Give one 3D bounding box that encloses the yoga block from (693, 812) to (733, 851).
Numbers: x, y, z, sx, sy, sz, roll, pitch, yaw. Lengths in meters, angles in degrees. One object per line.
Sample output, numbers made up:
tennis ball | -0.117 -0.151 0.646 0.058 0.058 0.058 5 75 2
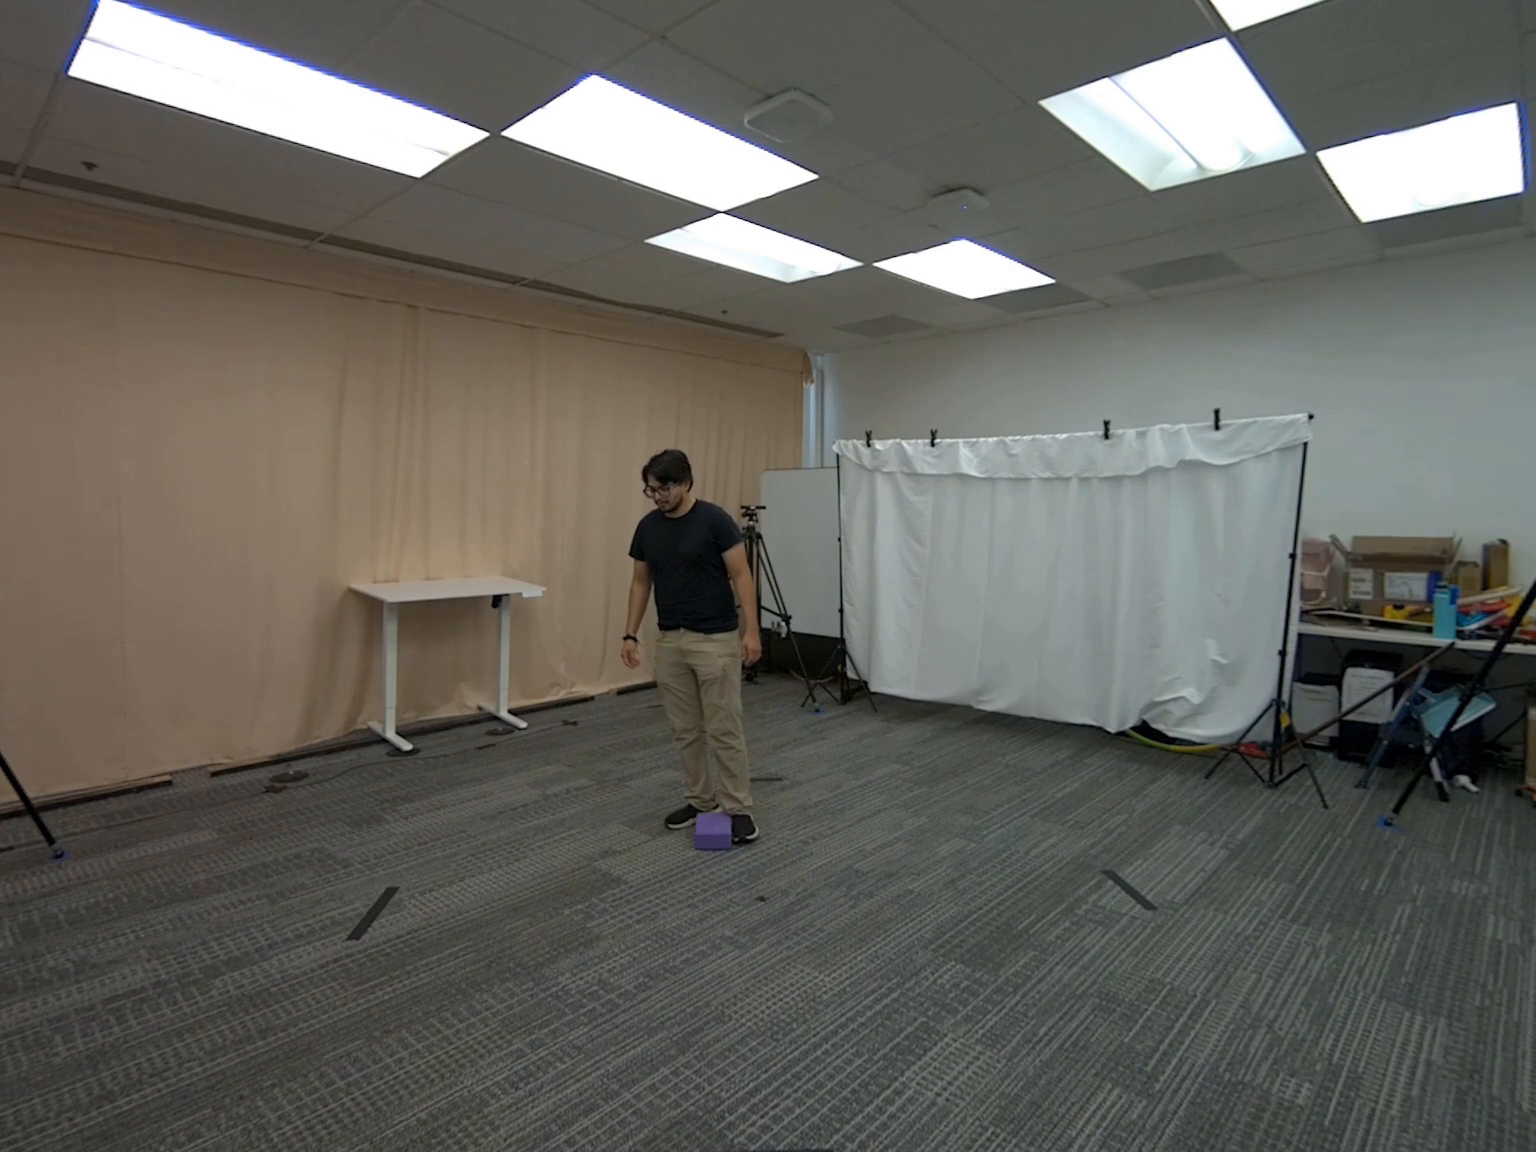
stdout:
yoga block | -0.229 1.057 3.516 0.149 0.076 0.230 1 5 0
